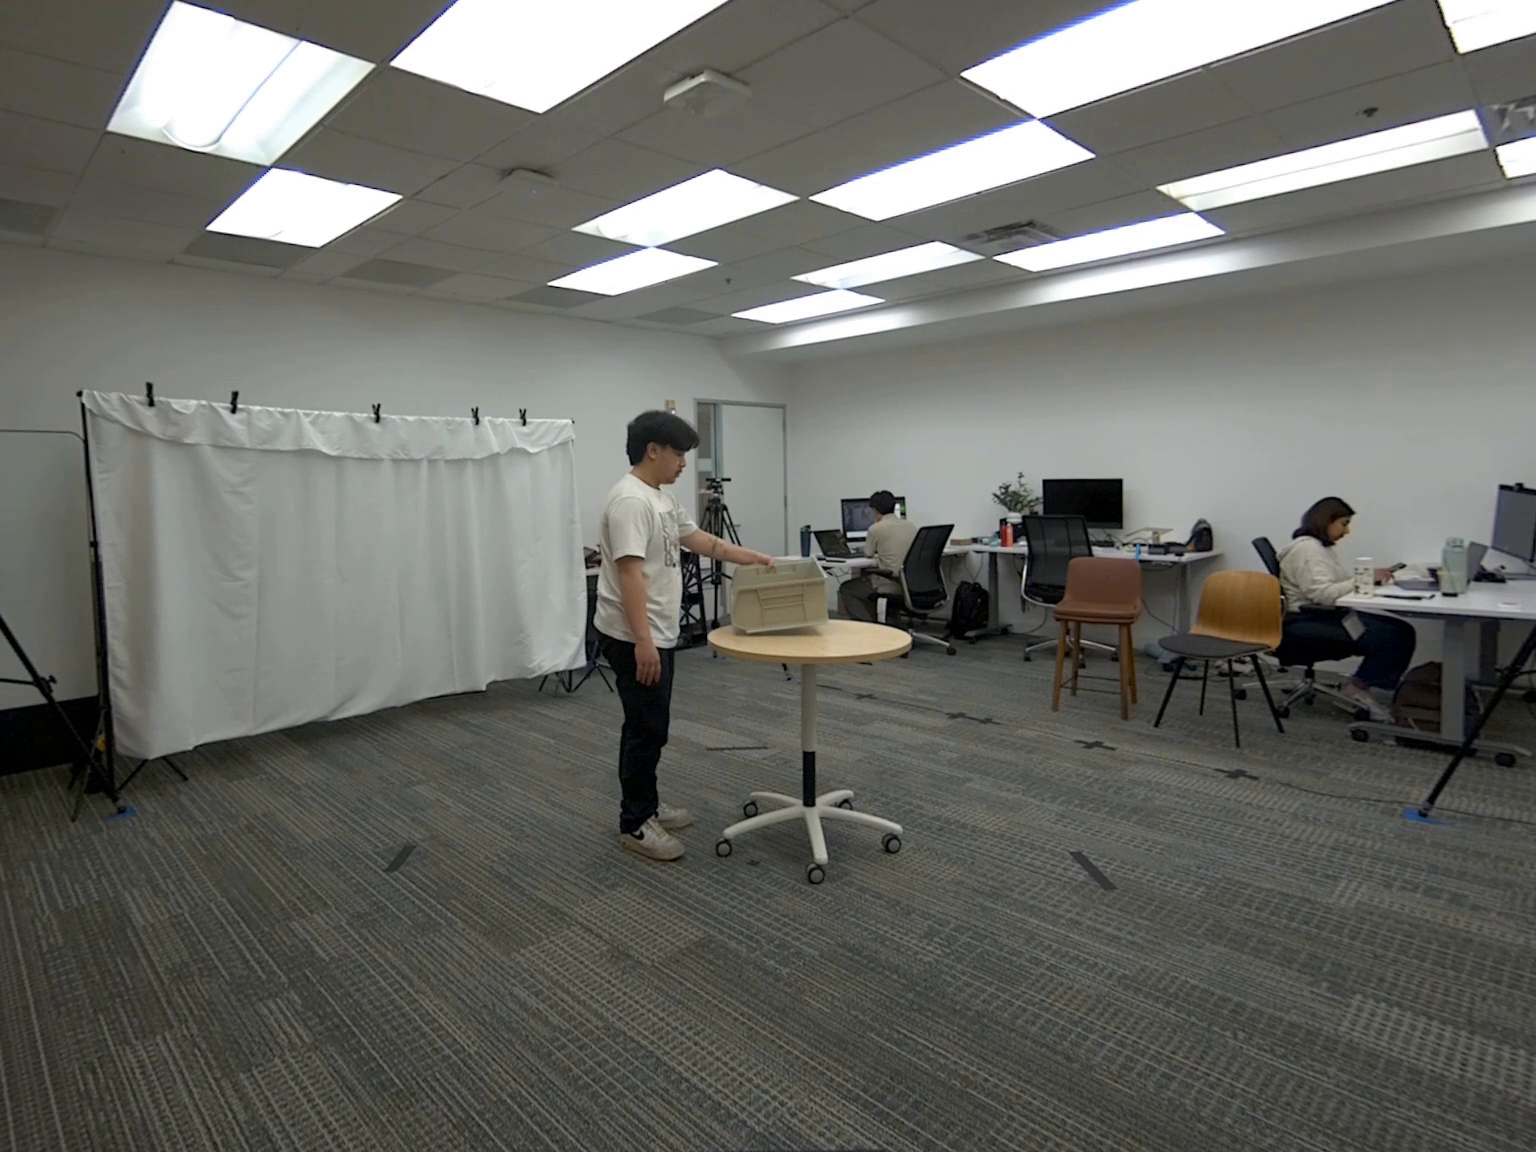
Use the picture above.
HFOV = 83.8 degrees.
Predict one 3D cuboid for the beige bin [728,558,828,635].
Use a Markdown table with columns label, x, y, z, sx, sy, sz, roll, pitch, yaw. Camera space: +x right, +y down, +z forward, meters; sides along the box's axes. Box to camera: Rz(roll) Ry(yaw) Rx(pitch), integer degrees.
| label | x | y | z | sx | sy | sz | roll | pitch | yaw |
| --- | --- | --- | --- | --- | --- | --- | --- | --- | --- |
| beige bin | 0.027 | 0.077 | 3.406 | 0.377 | 0.187 | 0.426 | -5 | 10 | -1 |
